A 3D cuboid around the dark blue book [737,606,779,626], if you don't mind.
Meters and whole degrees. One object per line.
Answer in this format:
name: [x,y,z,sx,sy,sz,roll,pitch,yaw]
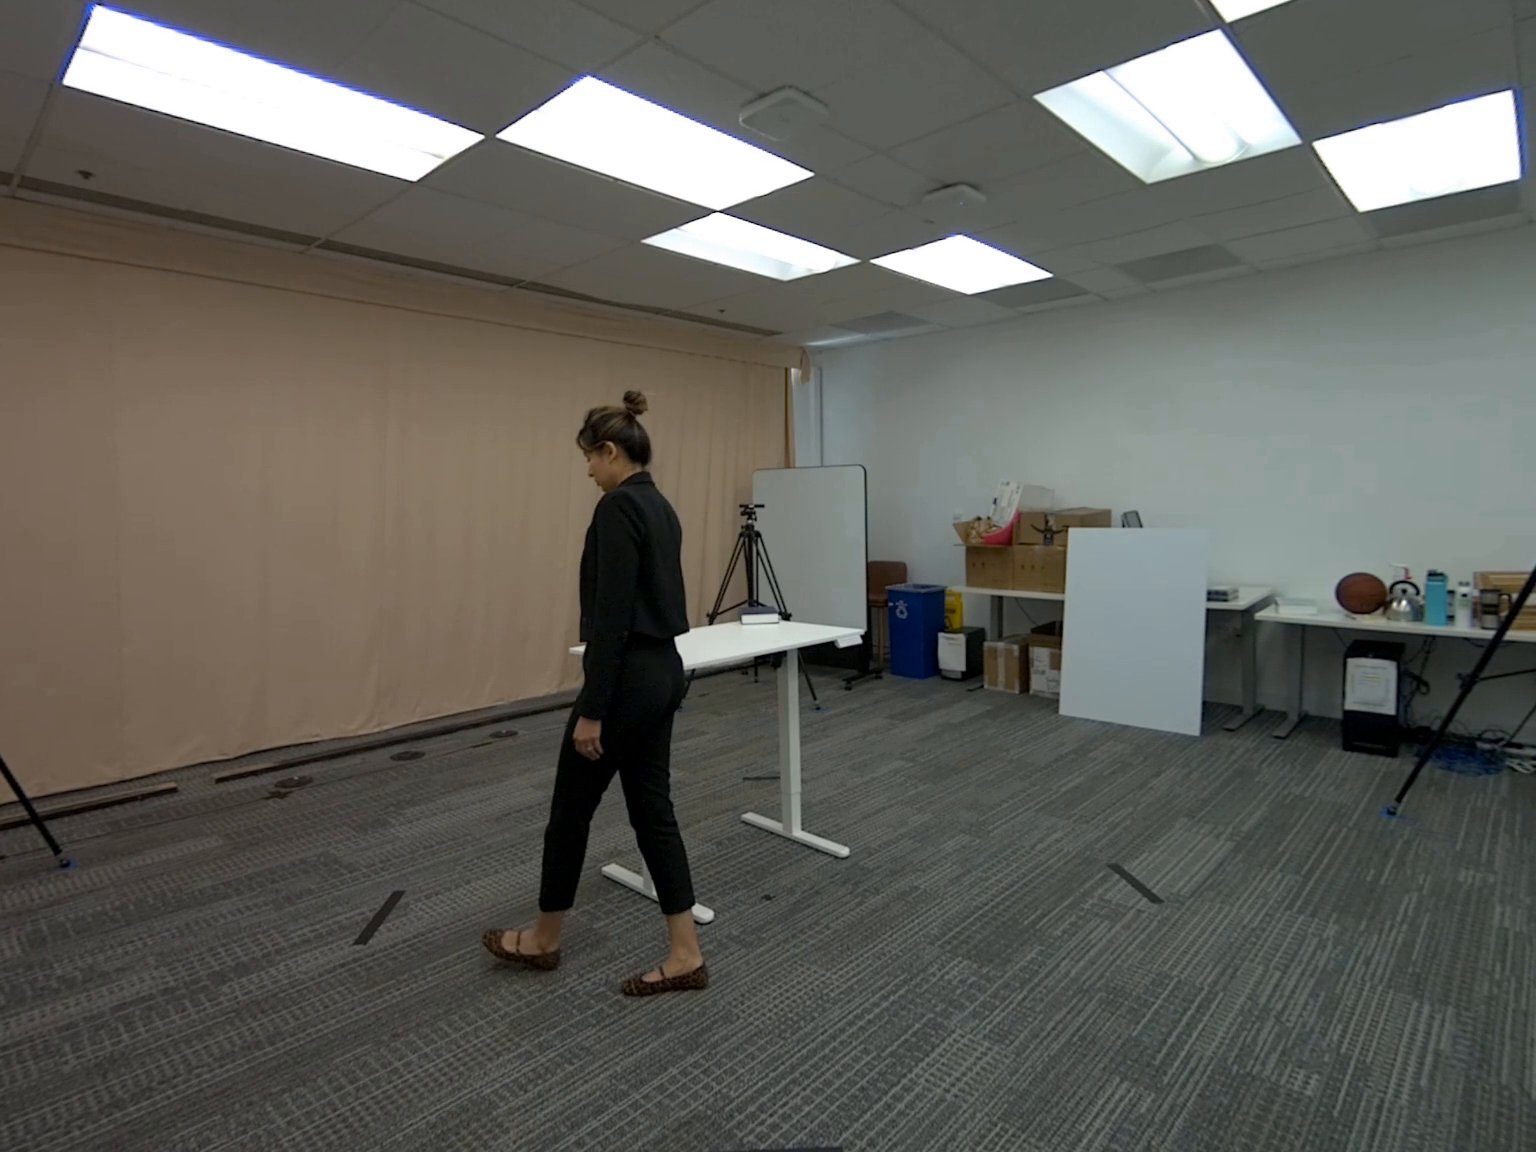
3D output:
dark blue book: [-0.049,0.171,3.711,0.163,0.045,0.246,-2,5,-4]
